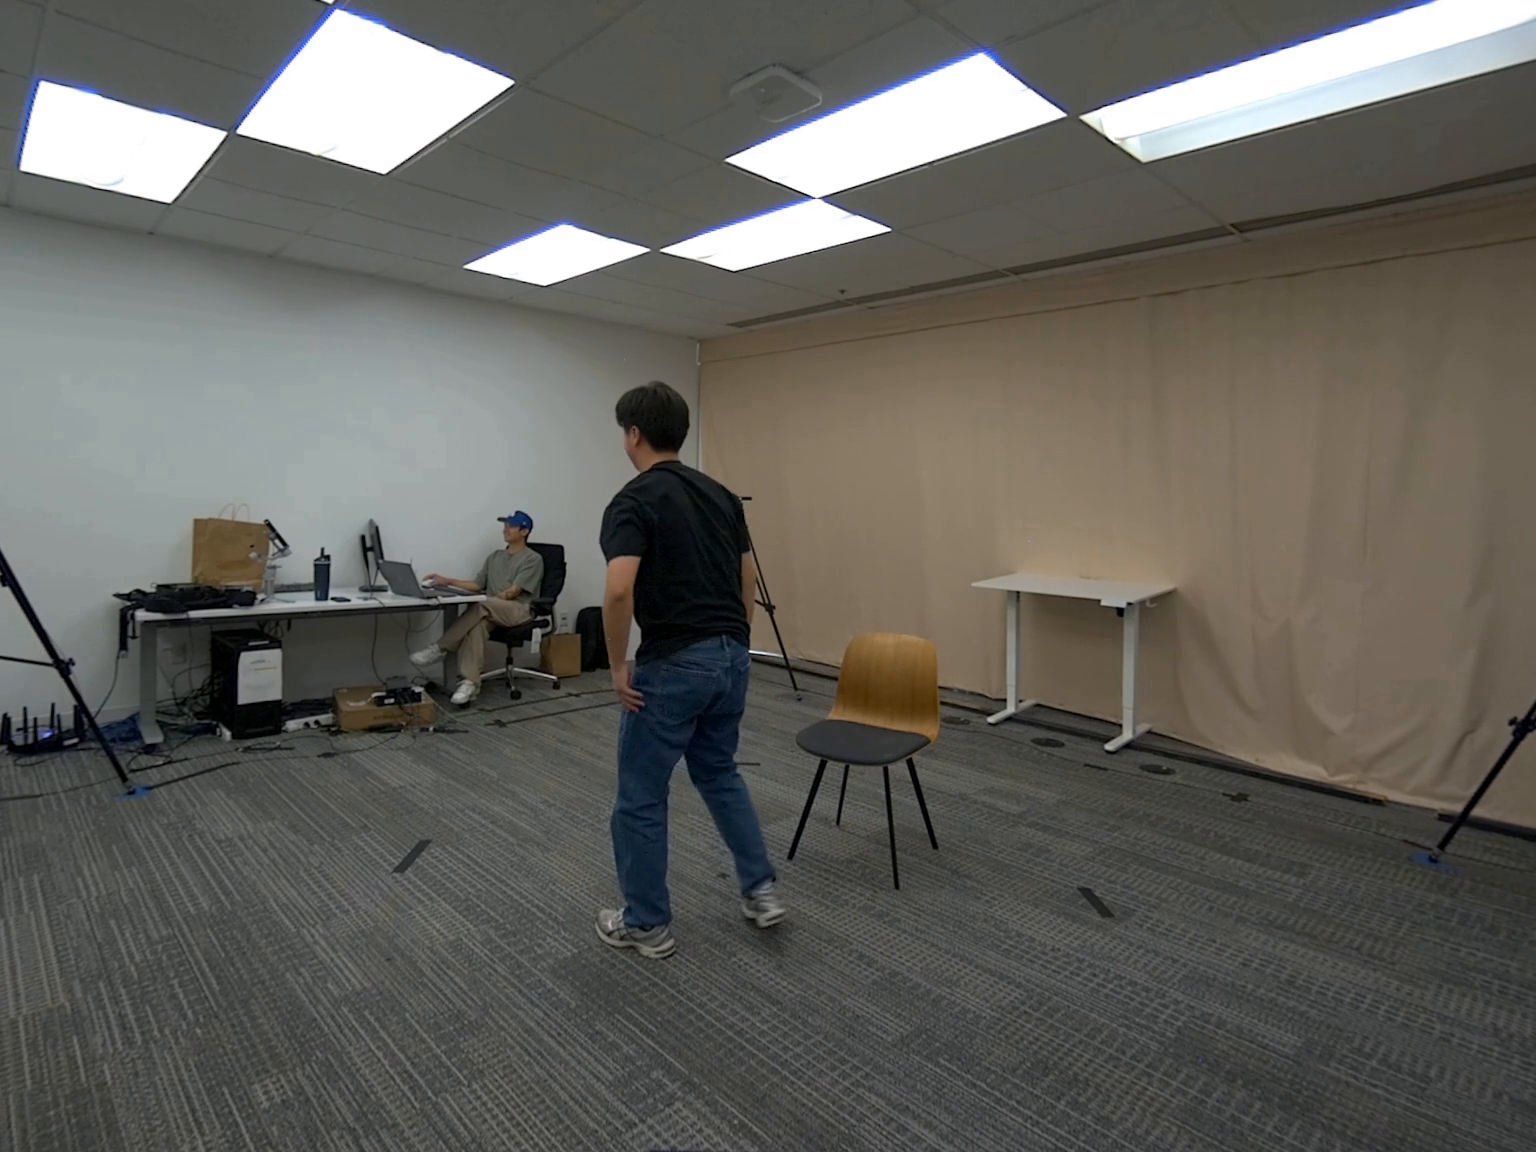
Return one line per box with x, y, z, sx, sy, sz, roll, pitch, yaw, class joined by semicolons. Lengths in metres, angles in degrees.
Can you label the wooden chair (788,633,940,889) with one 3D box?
0.385;0.676;3.291;0.489;0.878;0.511;4;-1;31;wooden chair
